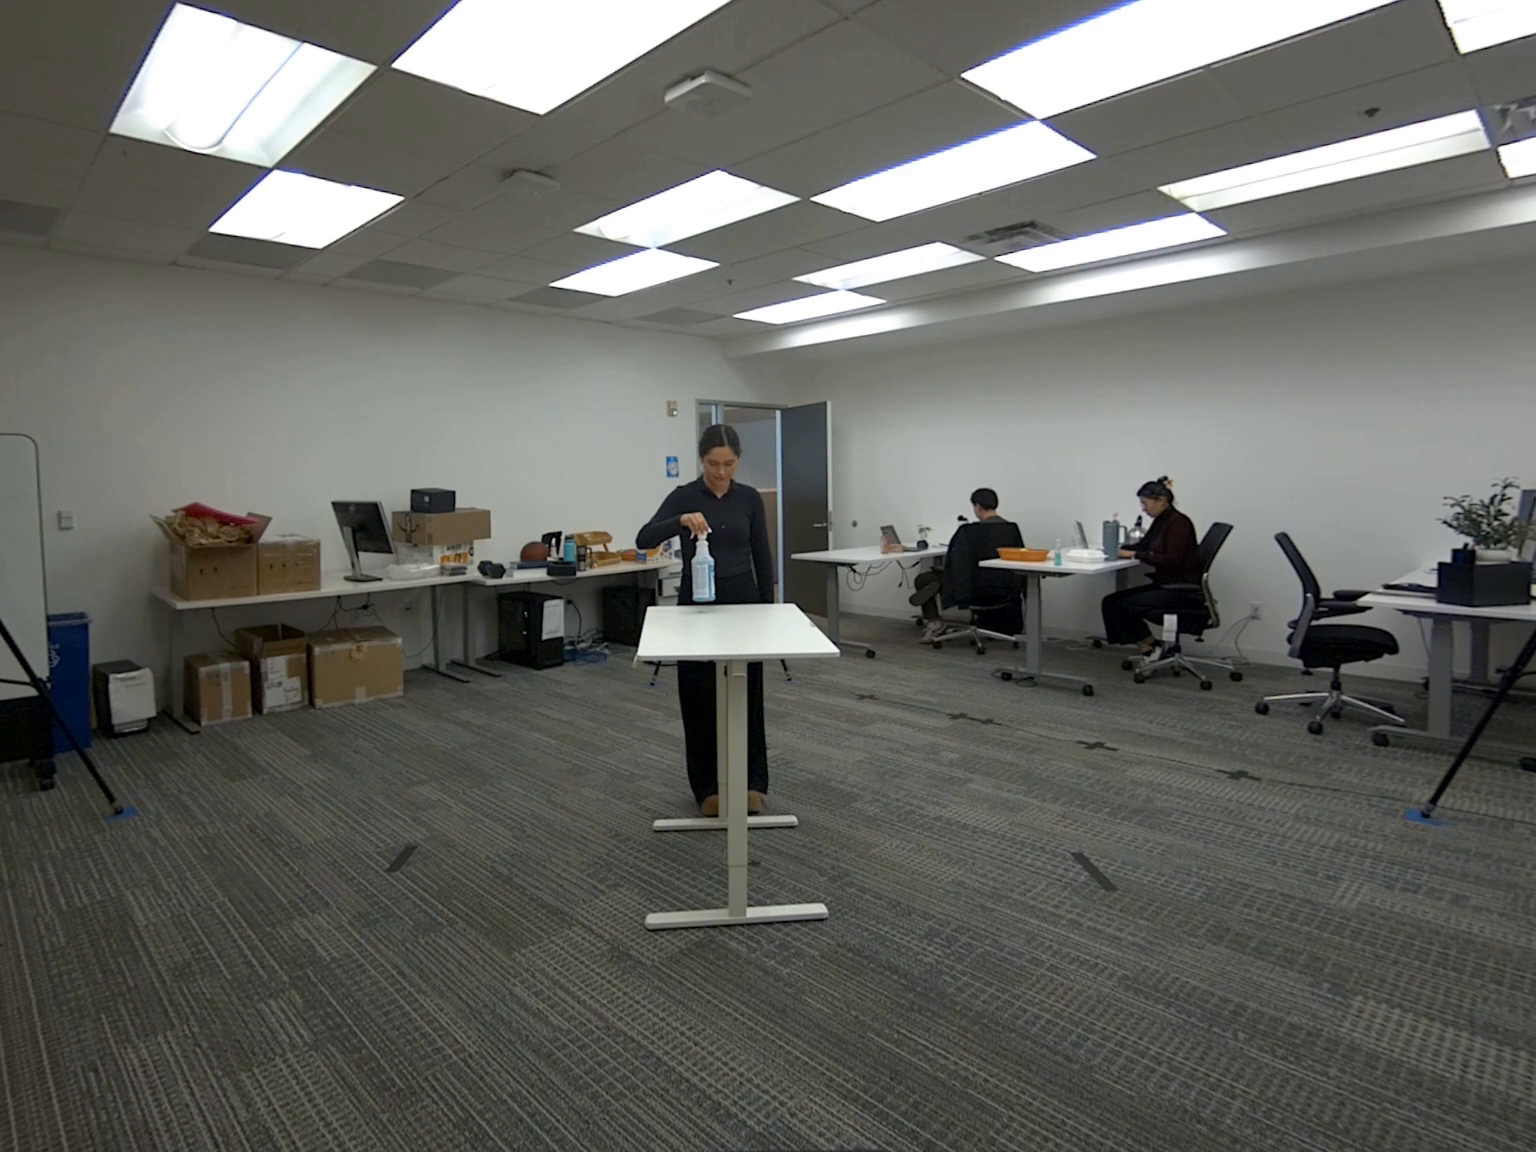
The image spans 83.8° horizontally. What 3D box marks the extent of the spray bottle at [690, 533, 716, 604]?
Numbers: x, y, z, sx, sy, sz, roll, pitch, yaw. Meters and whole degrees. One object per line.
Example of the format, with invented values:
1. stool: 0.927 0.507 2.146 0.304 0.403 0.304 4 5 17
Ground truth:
1. spray bottle: -0.248 -0.050 3.321 0.085 0.297 0.092 -3 0 -39
